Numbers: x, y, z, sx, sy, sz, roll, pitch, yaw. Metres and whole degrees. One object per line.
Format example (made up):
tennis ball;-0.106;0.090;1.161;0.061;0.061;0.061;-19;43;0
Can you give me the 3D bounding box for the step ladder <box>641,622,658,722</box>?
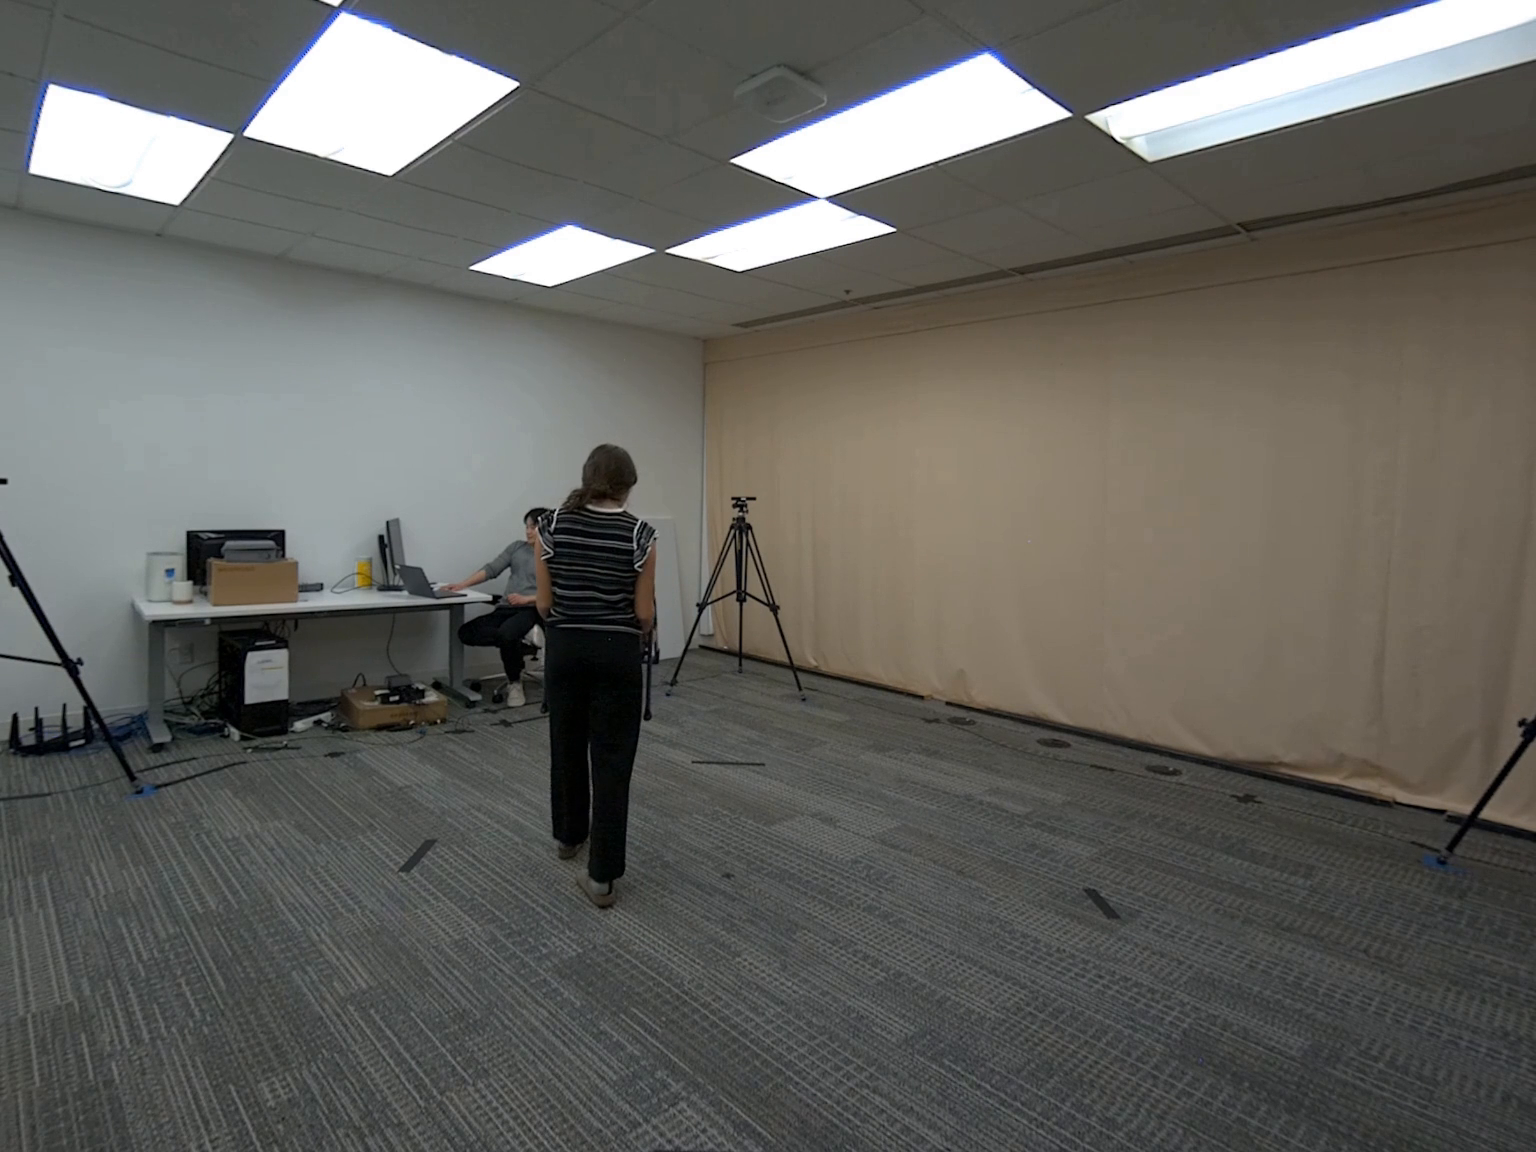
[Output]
step ladder;-0.640;0.194;3.210;0.430;0.595;0.356;5;32;-3
